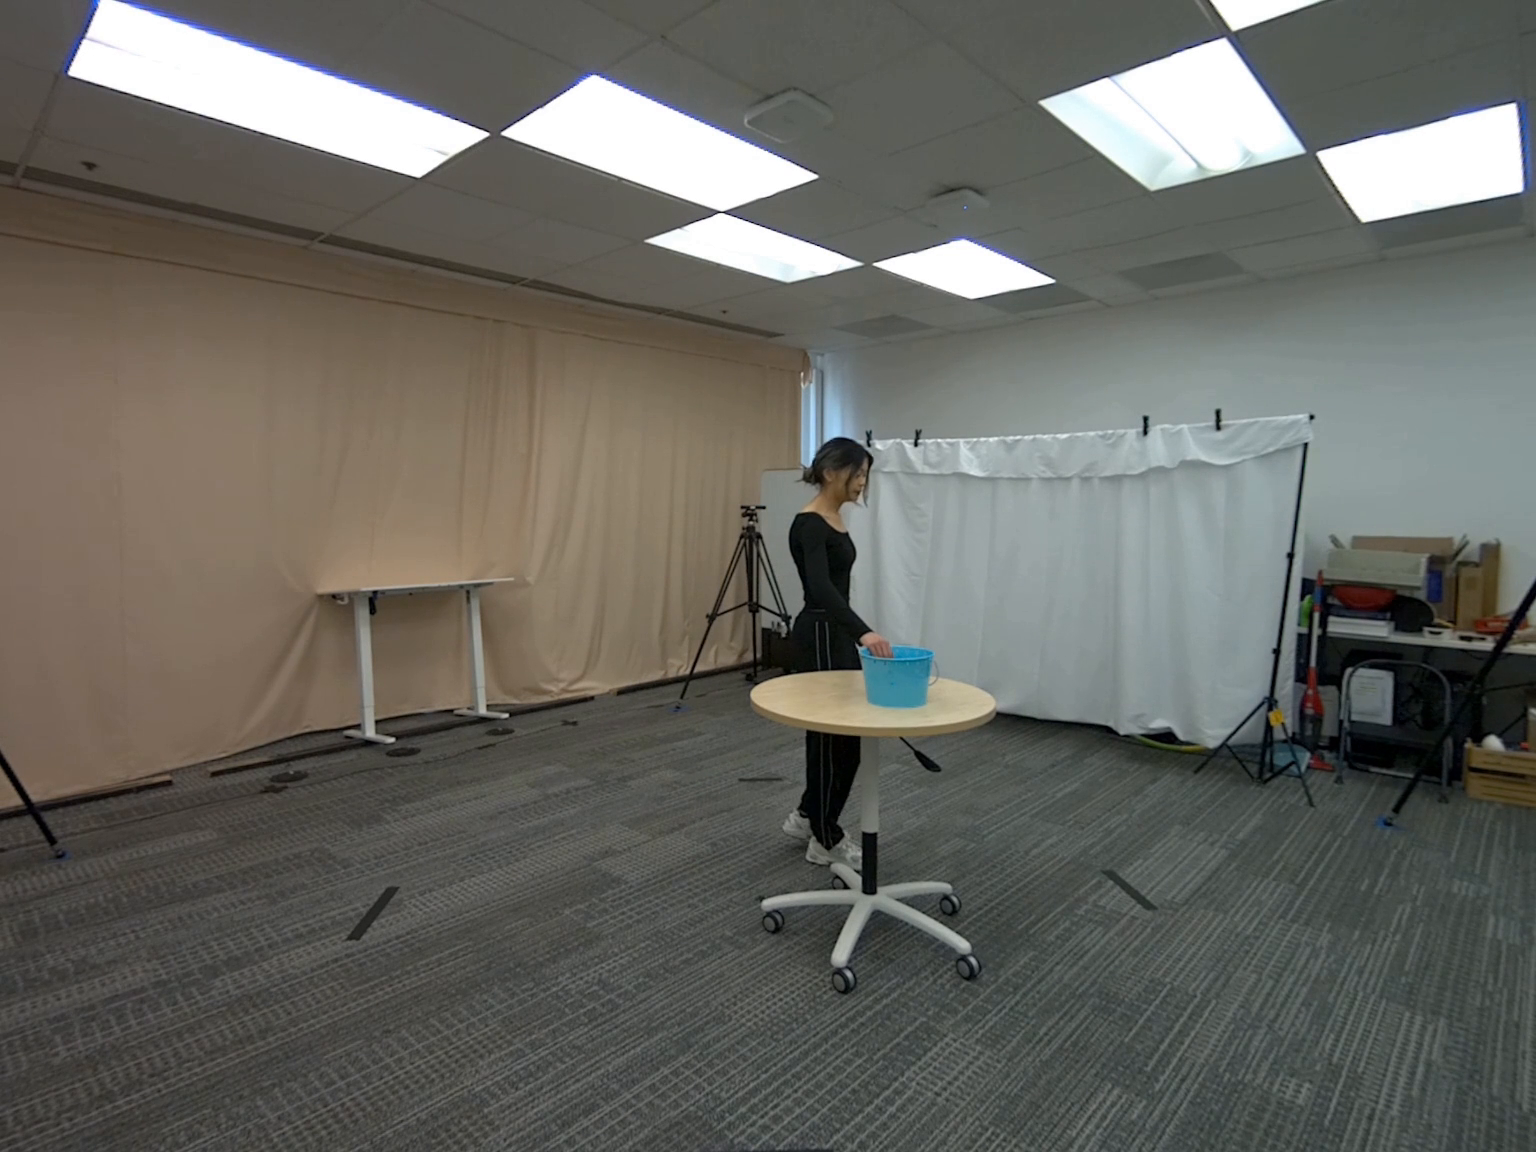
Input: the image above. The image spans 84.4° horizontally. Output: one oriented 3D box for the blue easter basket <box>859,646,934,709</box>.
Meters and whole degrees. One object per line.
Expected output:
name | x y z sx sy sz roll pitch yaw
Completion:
blue easter basket | 0.422 0.316 2.606 0.243 0.155 0.244 0 4 -2
